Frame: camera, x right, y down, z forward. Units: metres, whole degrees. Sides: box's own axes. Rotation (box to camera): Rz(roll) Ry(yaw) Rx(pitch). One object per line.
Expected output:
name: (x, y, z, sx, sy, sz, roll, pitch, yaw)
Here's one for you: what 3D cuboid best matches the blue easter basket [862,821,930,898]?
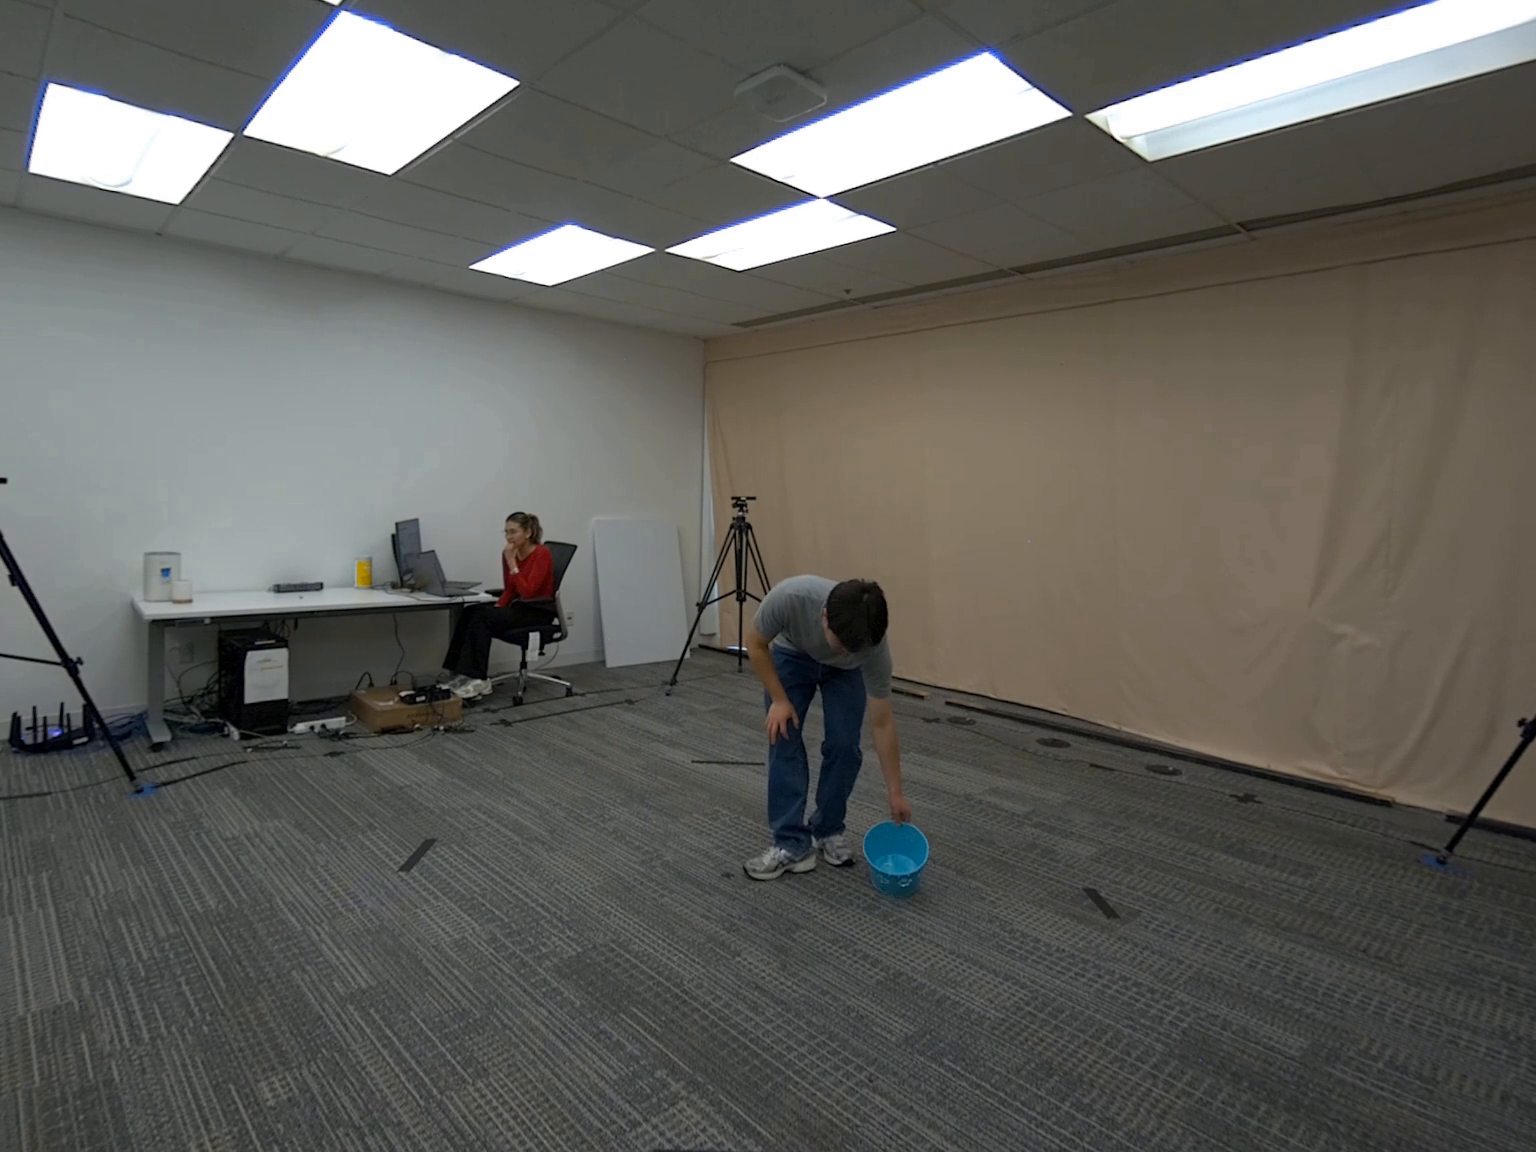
blue easter basket: (0.448, 1.021, 3.005, 0.244, 0.152, 0.248, -4, 32, 1)
